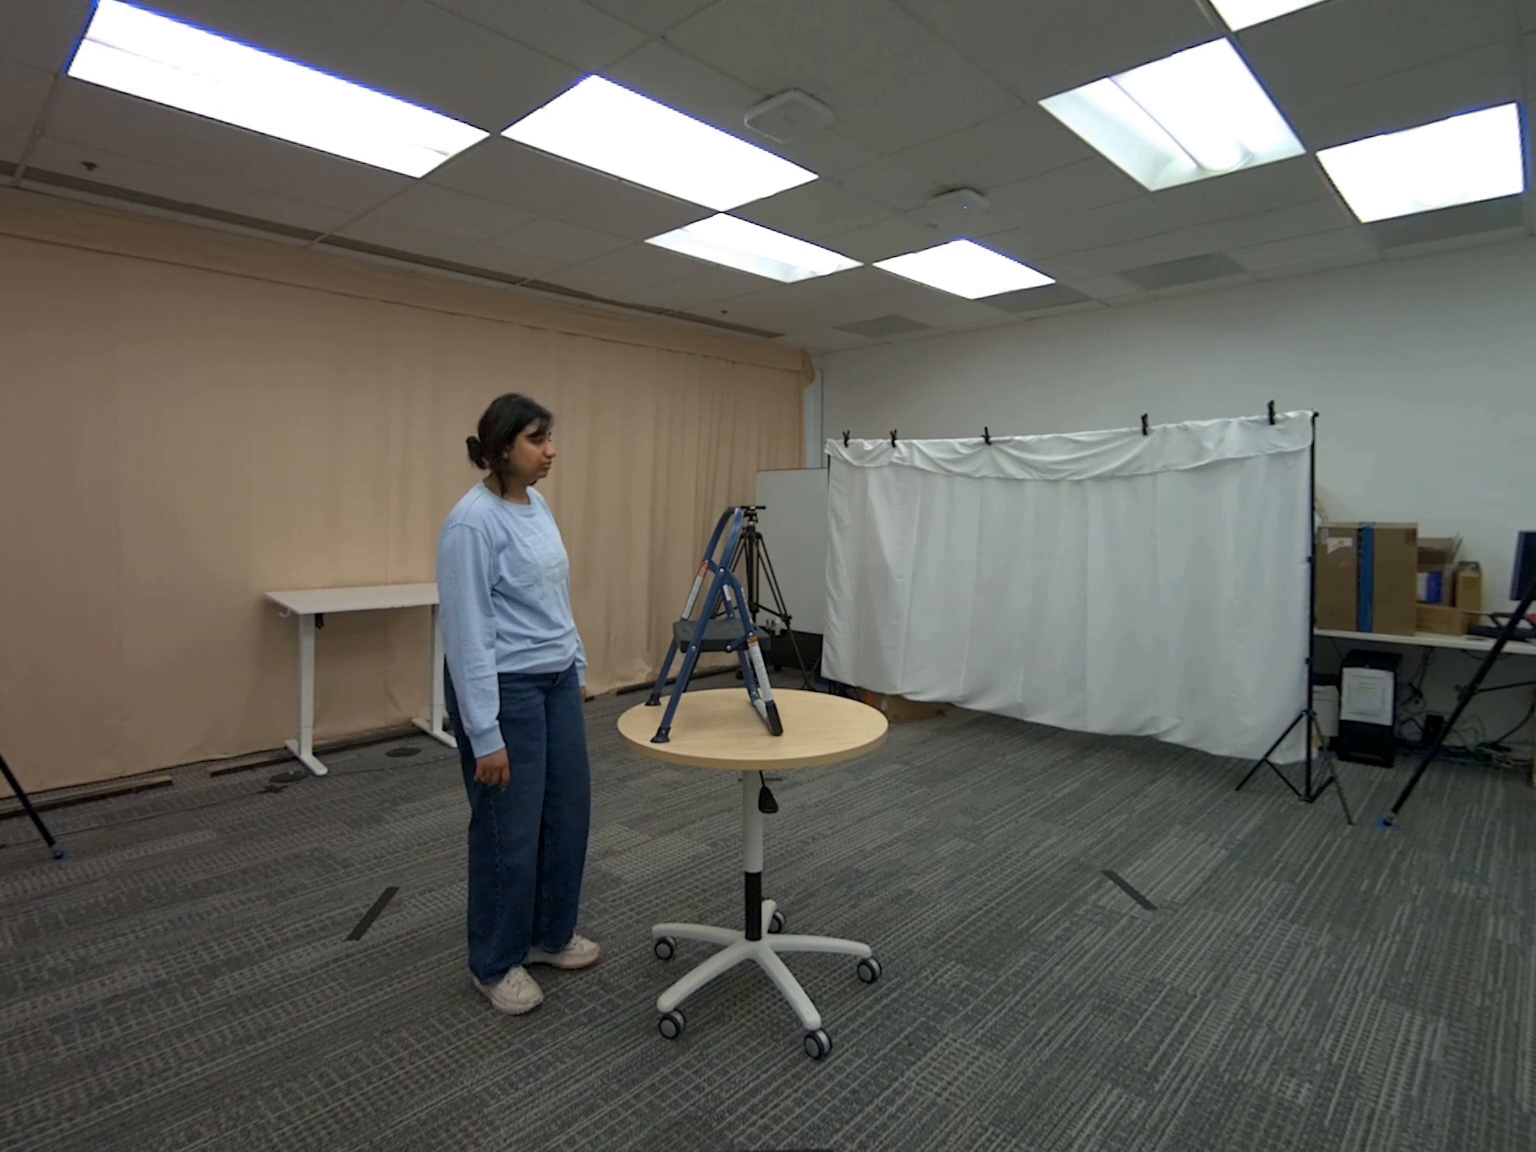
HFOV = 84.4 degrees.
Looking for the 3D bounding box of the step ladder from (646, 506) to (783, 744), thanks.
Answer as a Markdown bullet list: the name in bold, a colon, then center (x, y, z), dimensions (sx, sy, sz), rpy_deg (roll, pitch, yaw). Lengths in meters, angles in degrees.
- **step ladder**: center (-0.166, 0.109, 2.378), dimensions (0.346, 0.604, 0.436), rpy_deg (-2, 4, -10)
